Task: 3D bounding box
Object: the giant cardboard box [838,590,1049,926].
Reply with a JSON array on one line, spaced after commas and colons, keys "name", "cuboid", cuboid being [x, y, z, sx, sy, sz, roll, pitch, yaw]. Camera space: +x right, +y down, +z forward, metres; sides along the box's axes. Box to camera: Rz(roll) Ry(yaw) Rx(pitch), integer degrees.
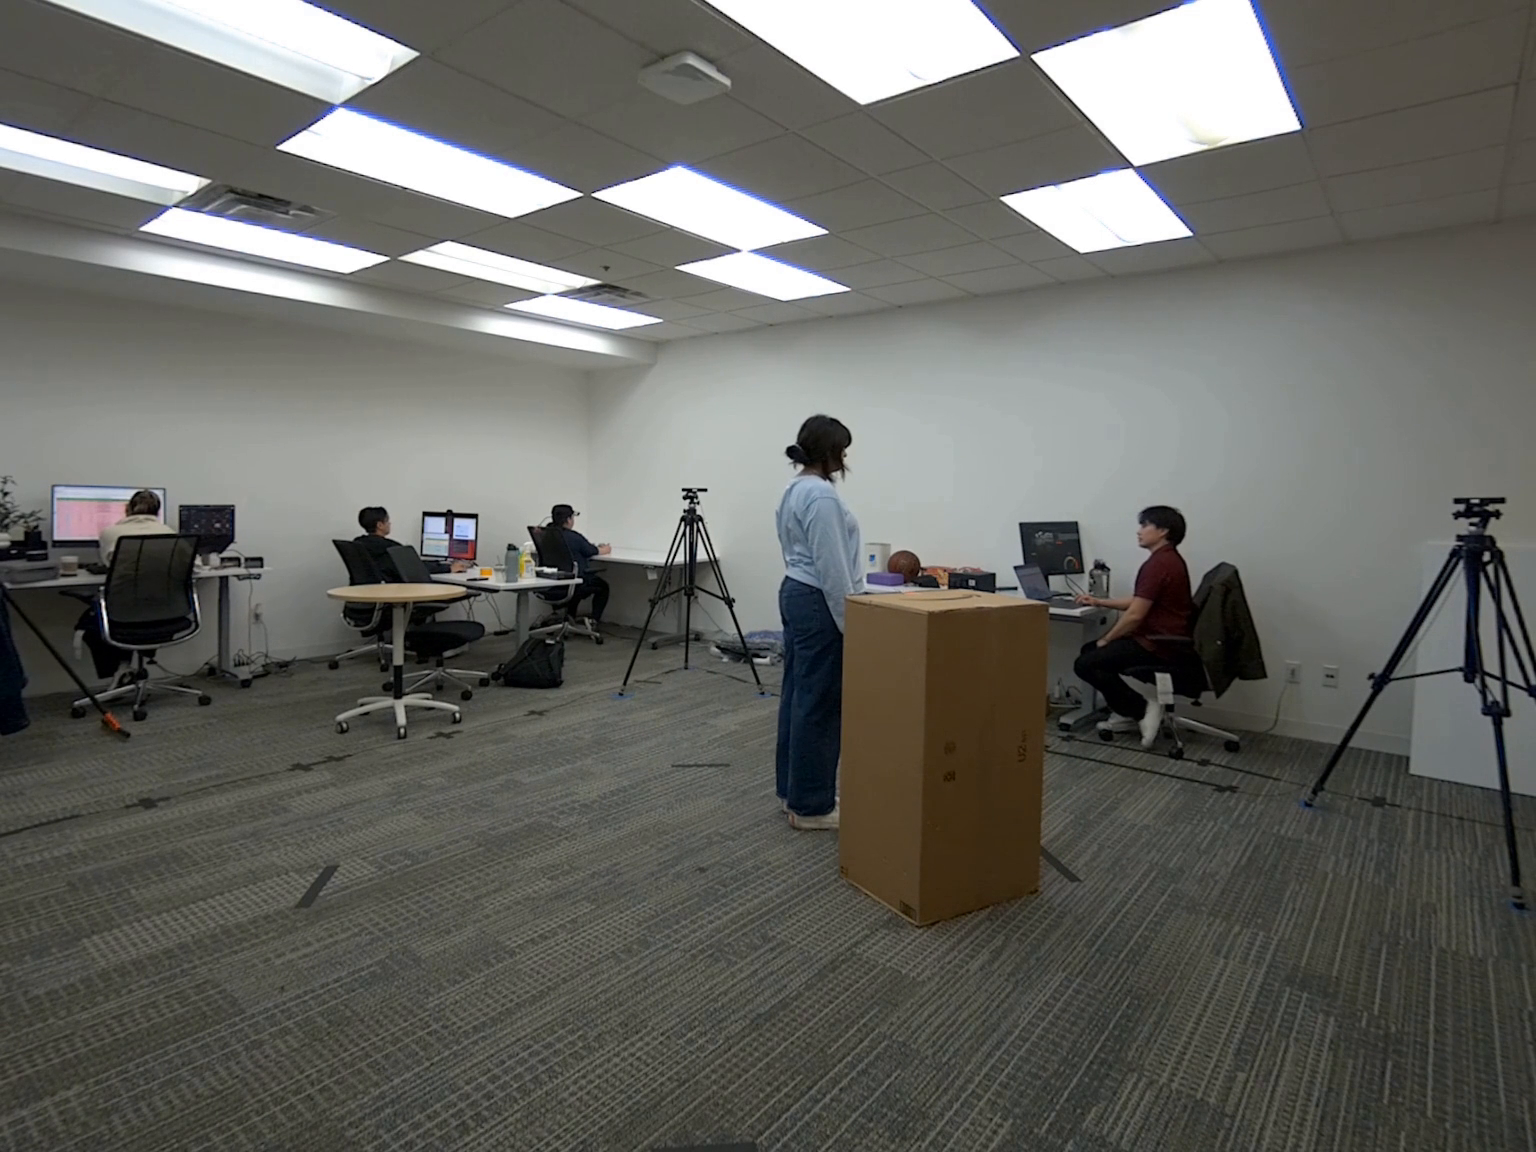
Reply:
[{"name": "giant cardboard box", "cuboid": [0.608, 0.584, 3.021, 0.562, 1.023, 0.439, -1, 4, -31]}]
